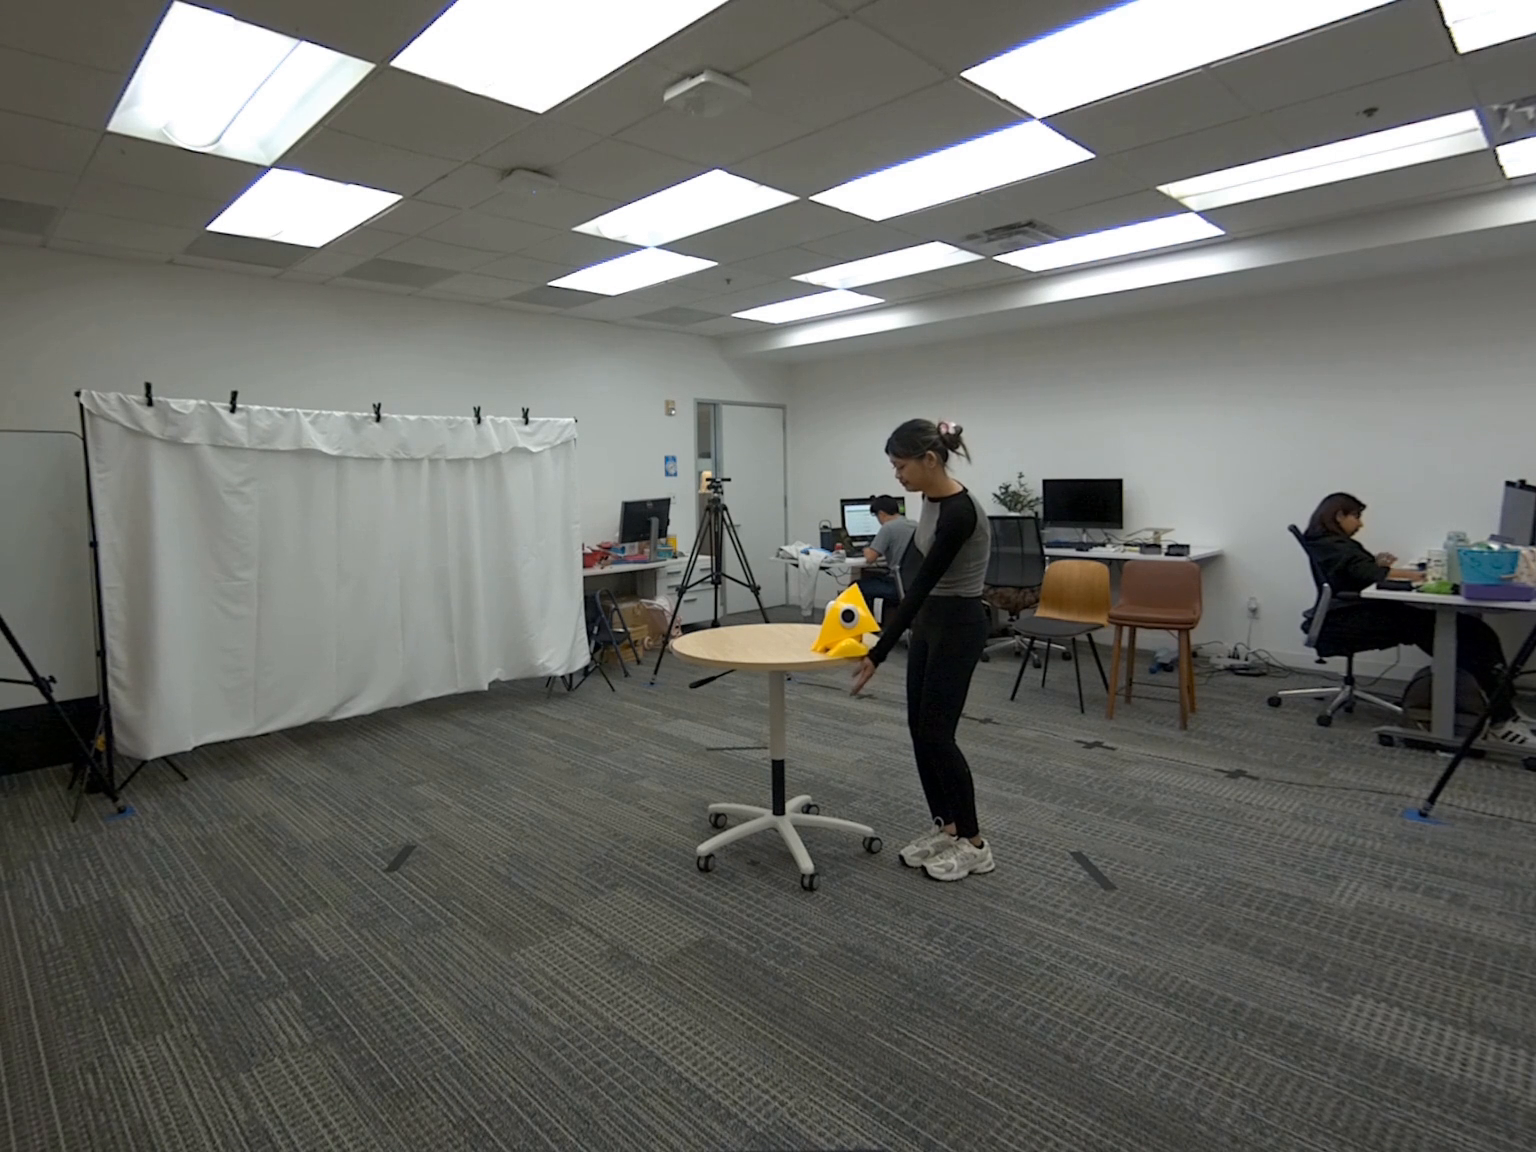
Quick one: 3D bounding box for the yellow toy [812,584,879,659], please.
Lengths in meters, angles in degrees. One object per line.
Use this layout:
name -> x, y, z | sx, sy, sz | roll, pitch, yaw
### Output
yellow toy -> 0.262, 0.143, 2.936 | 0.189, 0.230, 0.210 | -4, 5, -25
